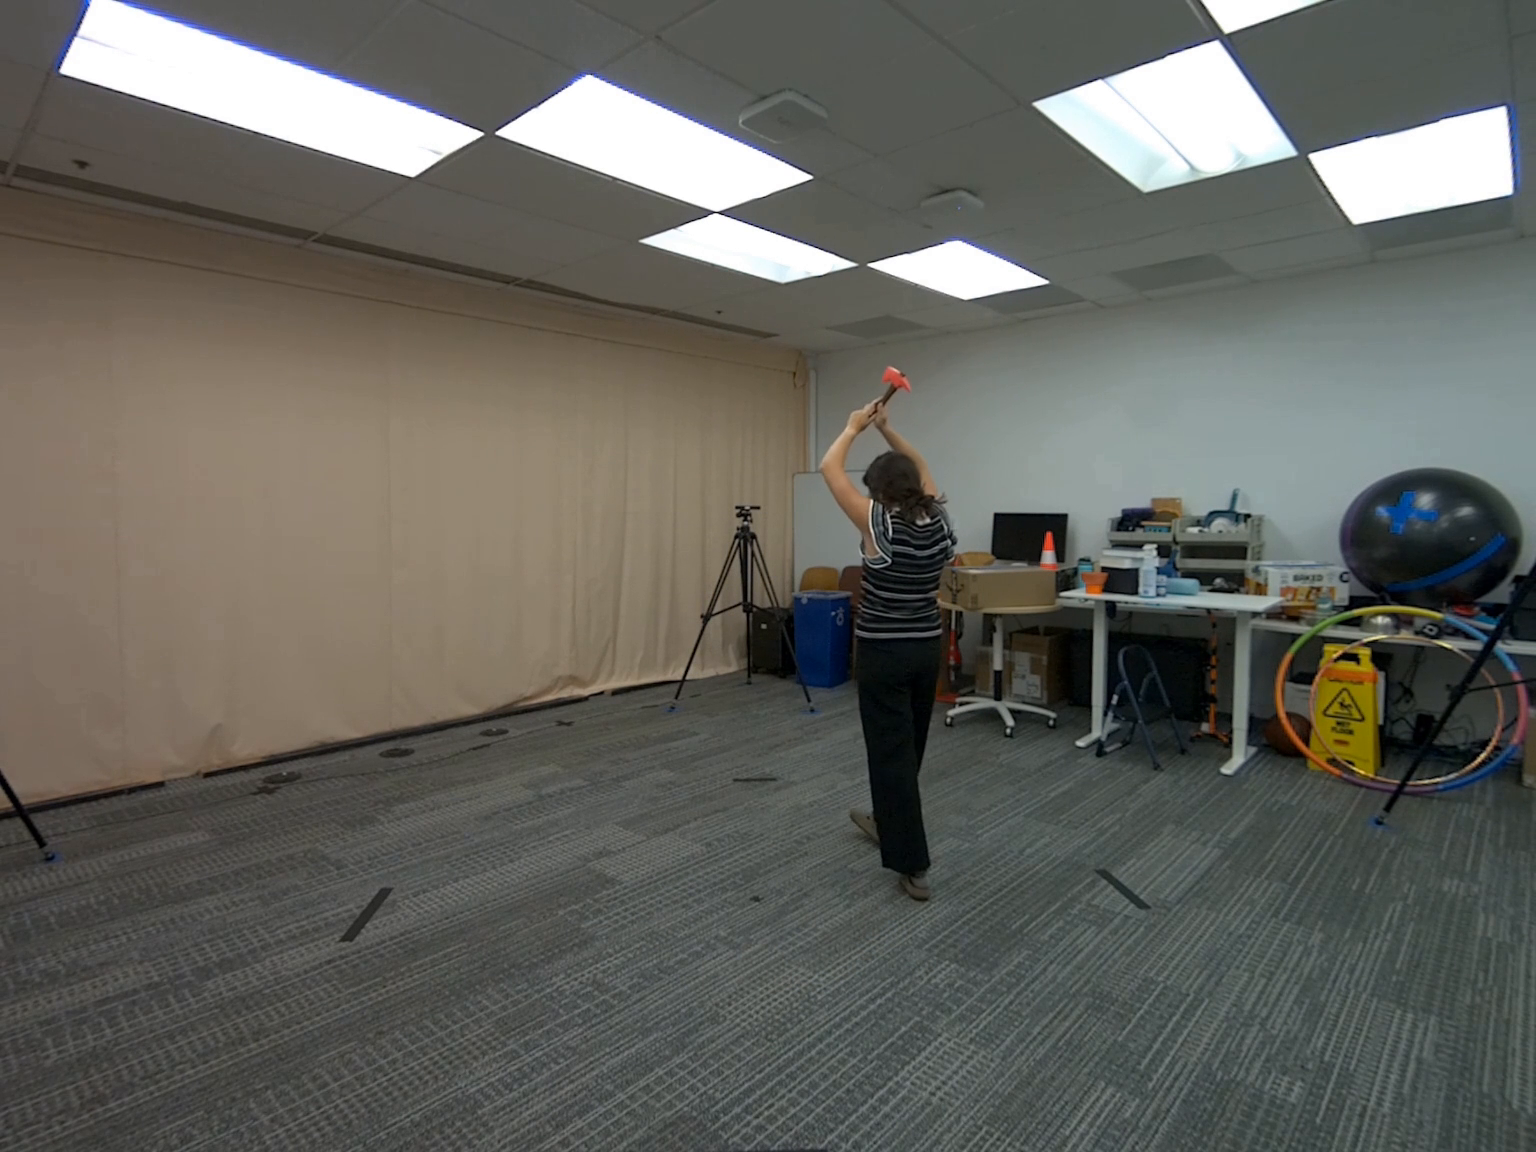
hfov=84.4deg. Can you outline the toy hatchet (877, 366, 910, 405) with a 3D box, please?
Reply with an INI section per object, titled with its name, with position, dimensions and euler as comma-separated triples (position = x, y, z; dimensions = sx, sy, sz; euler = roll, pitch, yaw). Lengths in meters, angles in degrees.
[toy hatchet]
position = 0.423, -0.693, 3.200
dimensions = 0.029, 0.132, 0.275
euler = -6, -16, -47
